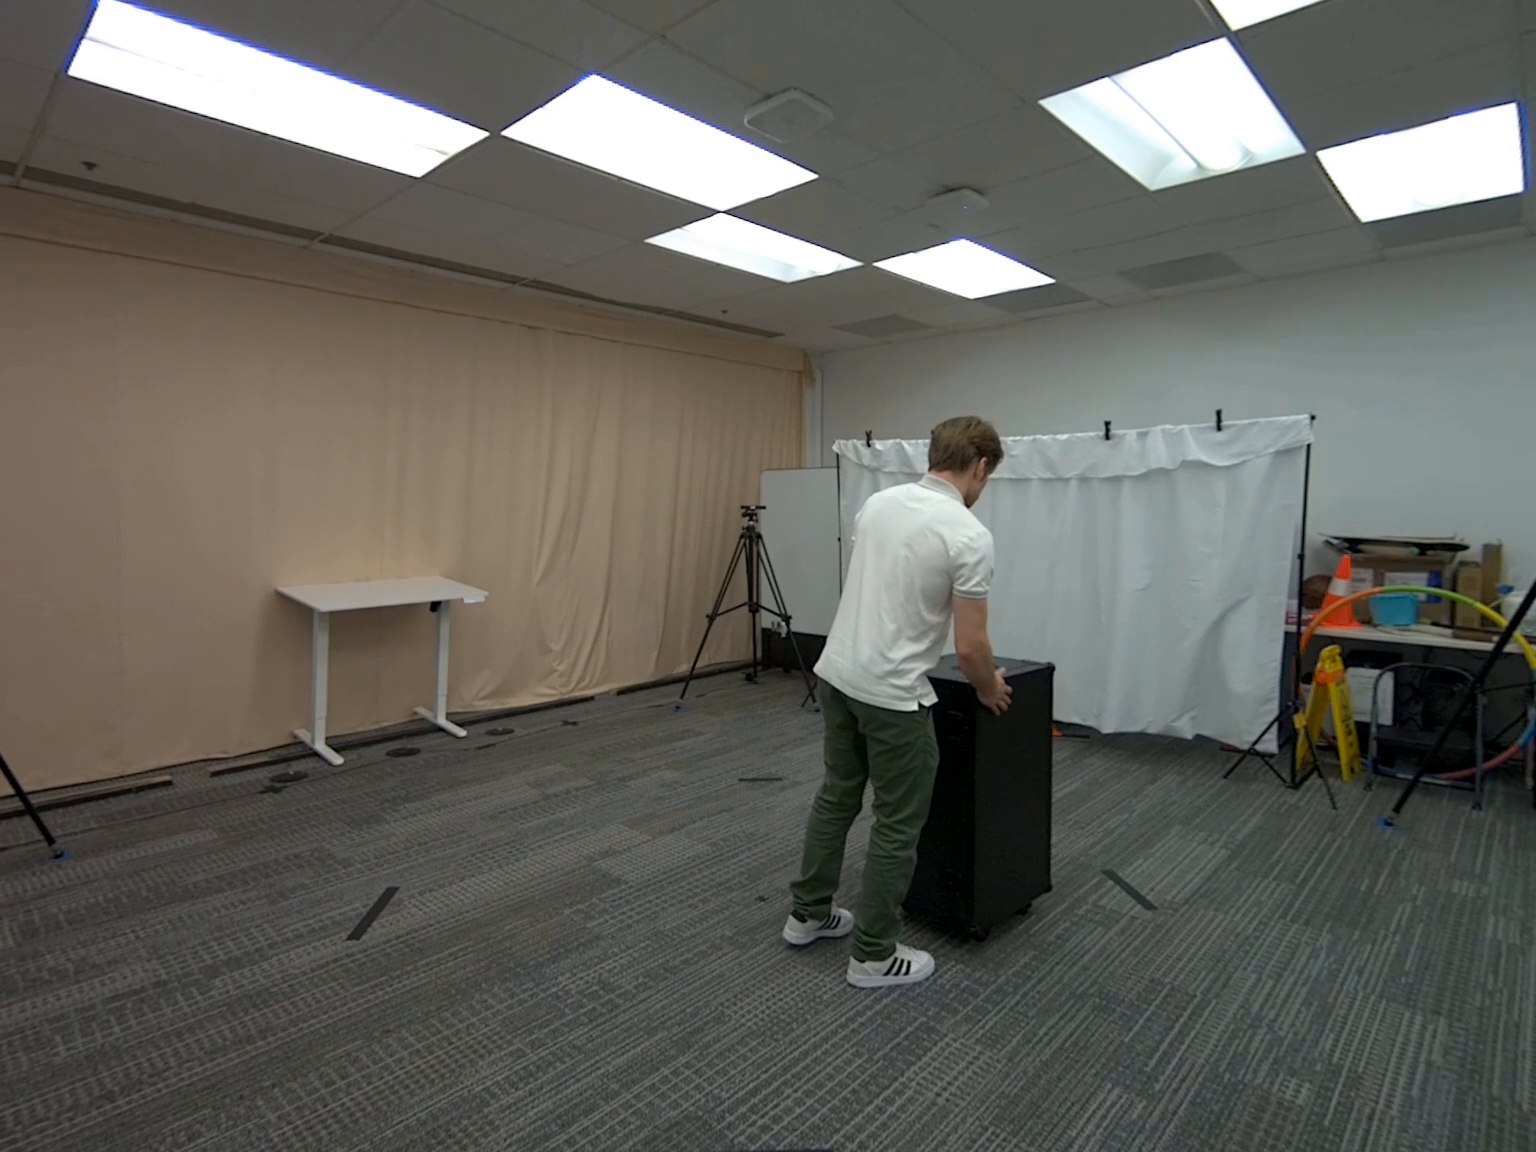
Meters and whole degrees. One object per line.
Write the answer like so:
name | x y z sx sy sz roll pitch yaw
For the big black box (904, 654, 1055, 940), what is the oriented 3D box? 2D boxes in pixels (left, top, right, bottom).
big black box | 0.677 0.736 2.846 0.507 0.867 0.398 -3 4 -43
